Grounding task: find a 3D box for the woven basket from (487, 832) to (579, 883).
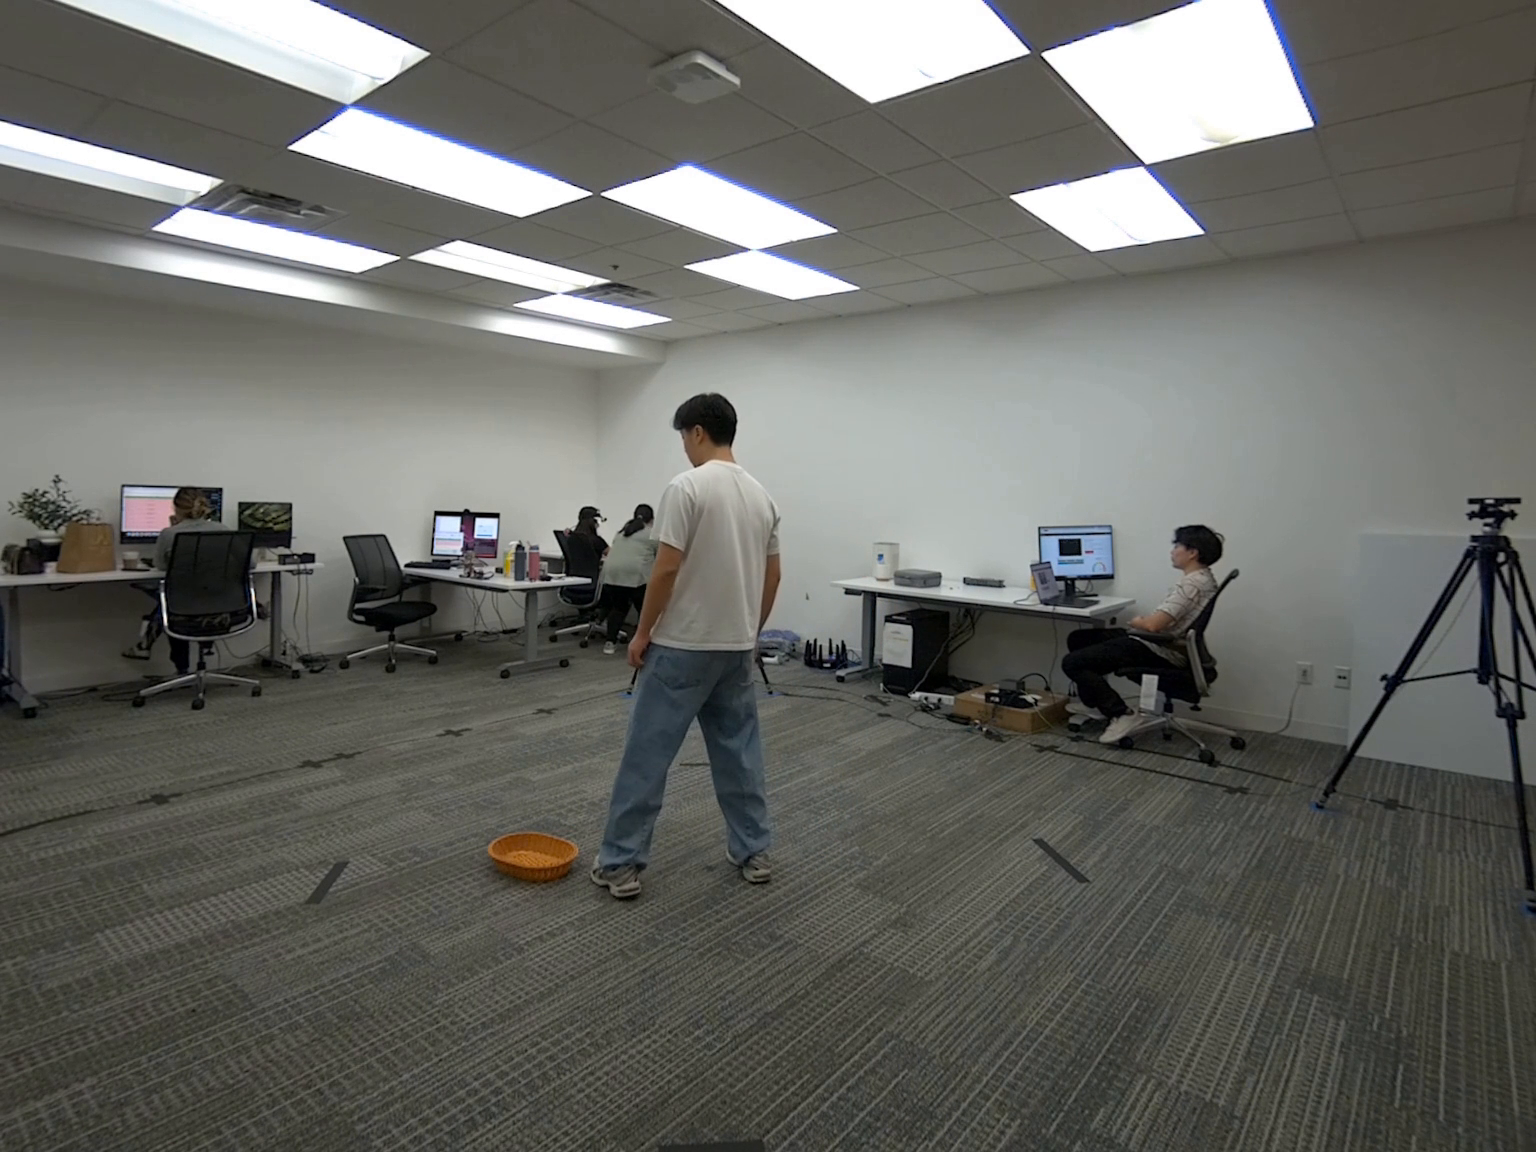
[{"bbox_3d":[-0.864,1.019,3.092,0.361,0.073,0.246,5,7,30],"label":"woven basket"}]
